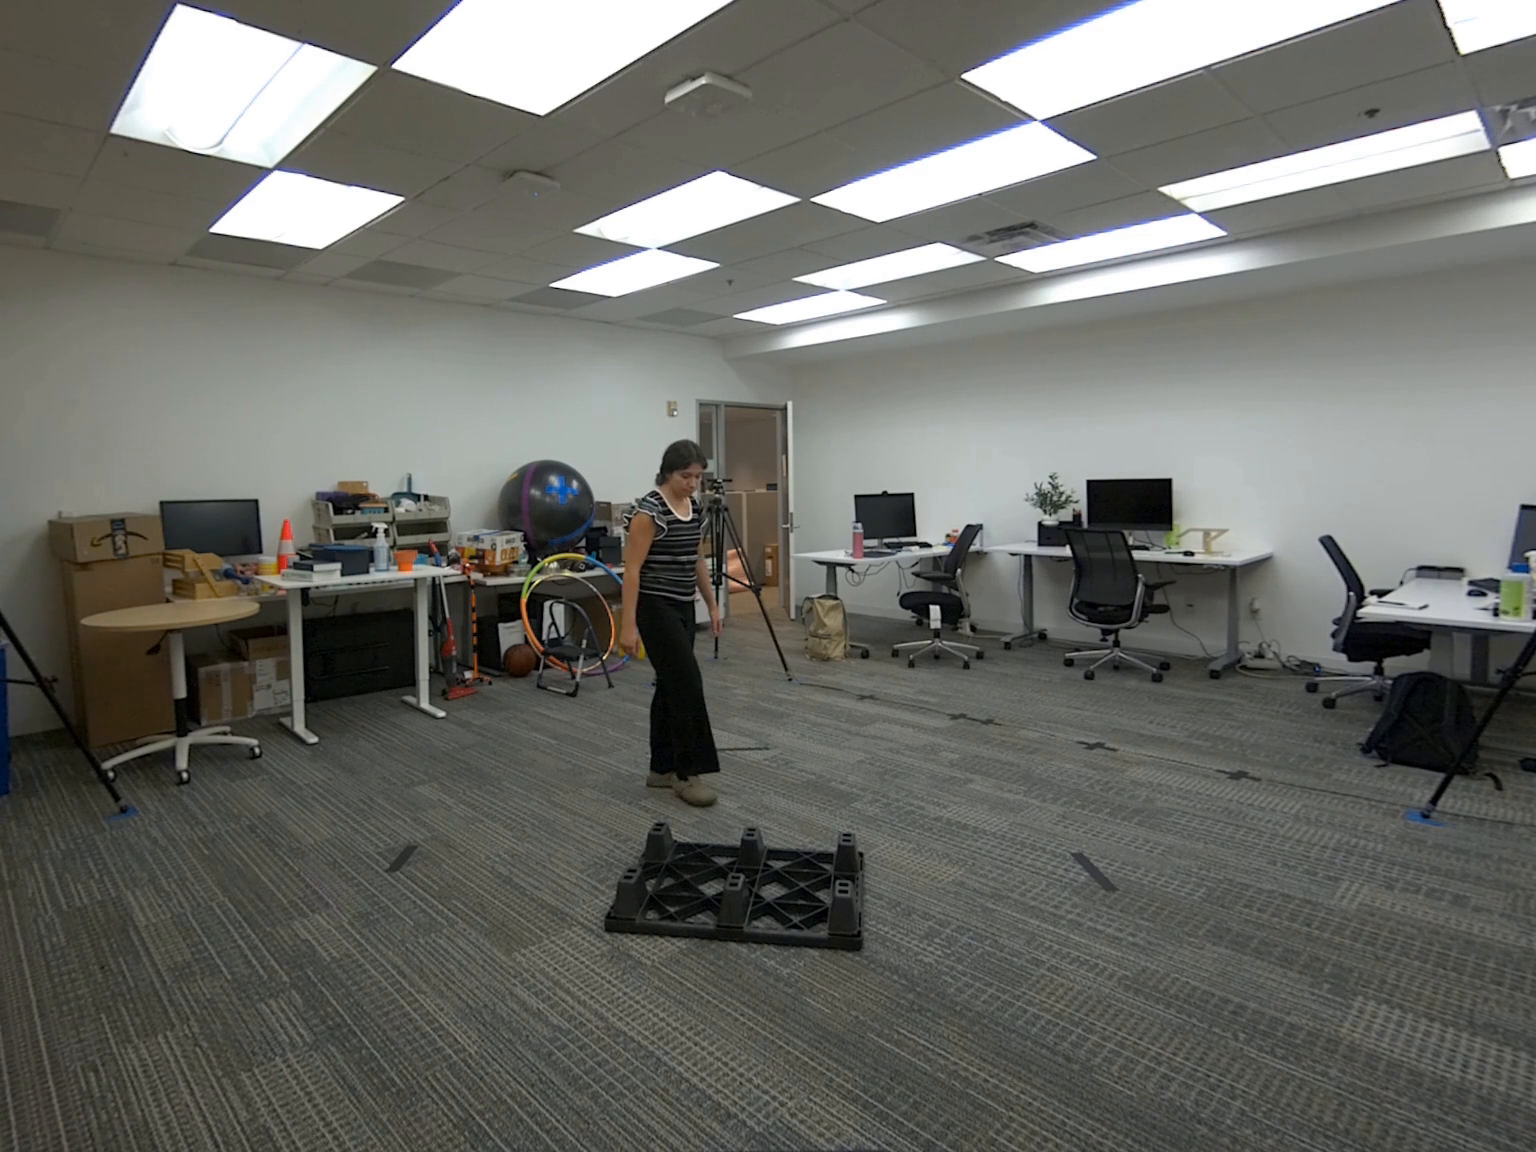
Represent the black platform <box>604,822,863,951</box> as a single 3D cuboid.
[{"bbox_3d":[-0.081,1.004,2.868,0.813,0.143,0.602,0,6,9],"label":"black platform"}]
